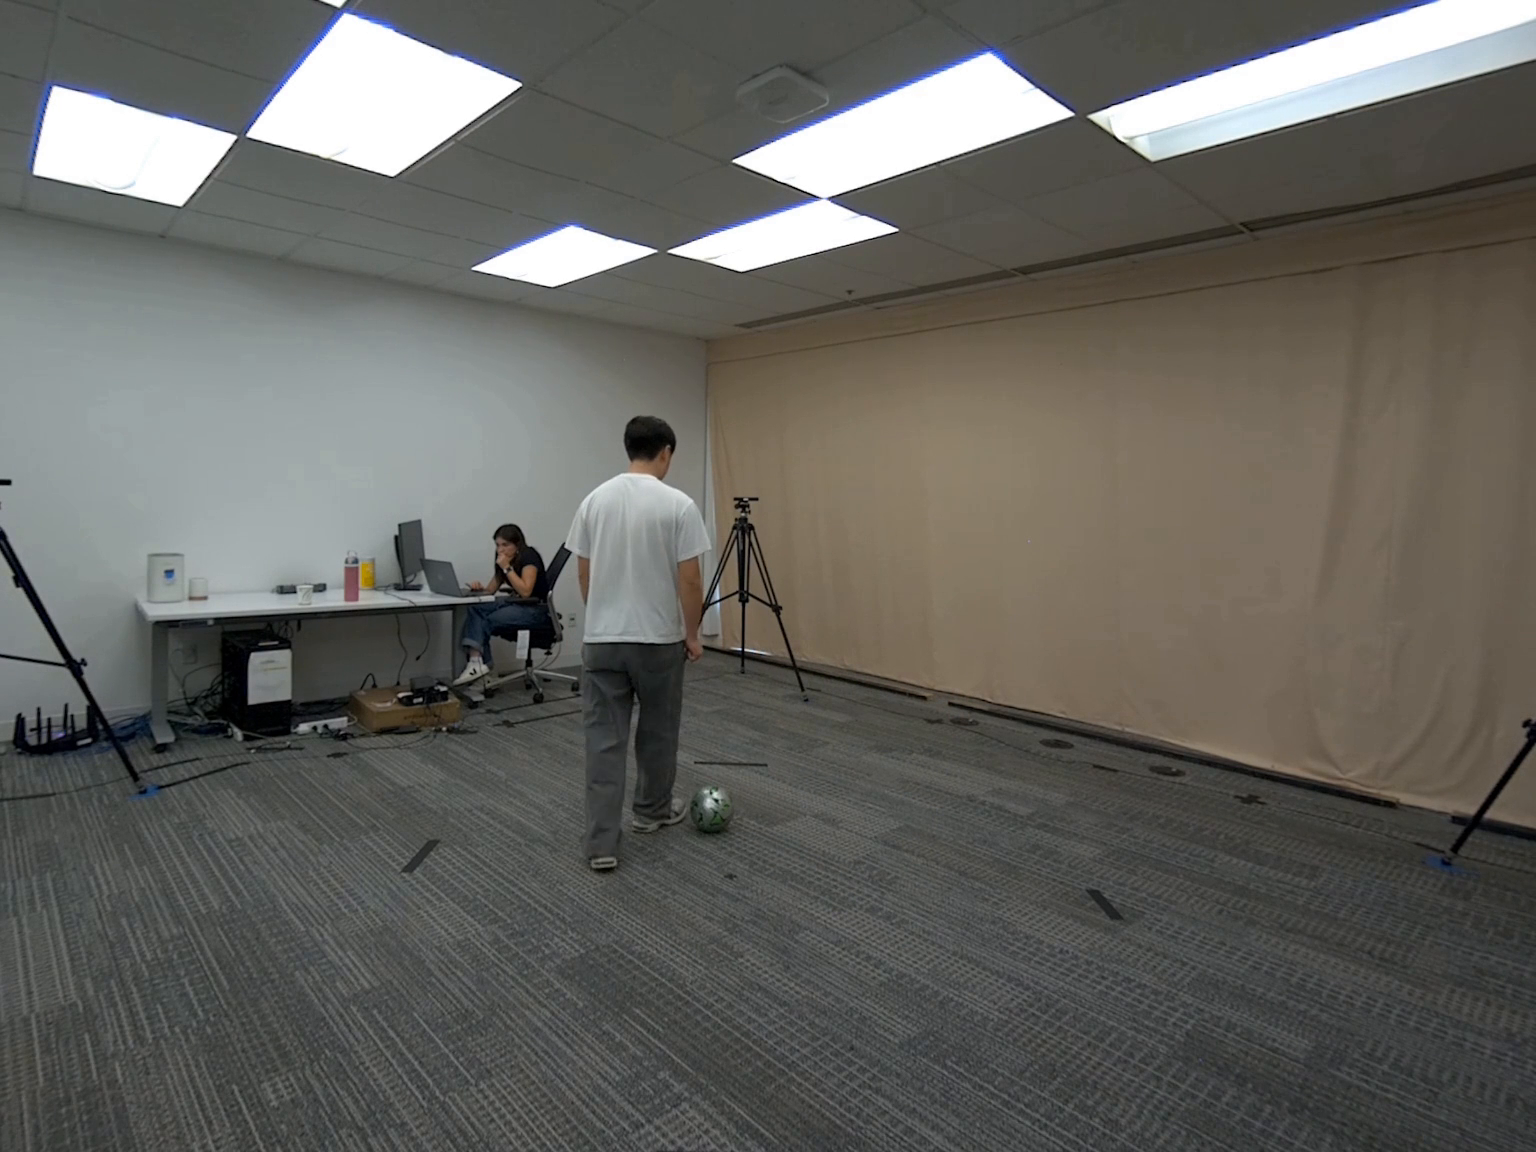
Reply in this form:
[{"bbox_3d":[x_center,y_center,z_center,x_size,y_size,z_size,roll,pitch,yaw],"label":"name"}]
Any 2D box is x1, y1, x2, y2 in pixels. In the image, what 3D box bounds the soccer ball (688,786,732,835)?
[{"bbox_3d":[-0.246,0.978,3.526,0.187,0.187,0.188,1,4,-1],"label":"soccer ball"}]
